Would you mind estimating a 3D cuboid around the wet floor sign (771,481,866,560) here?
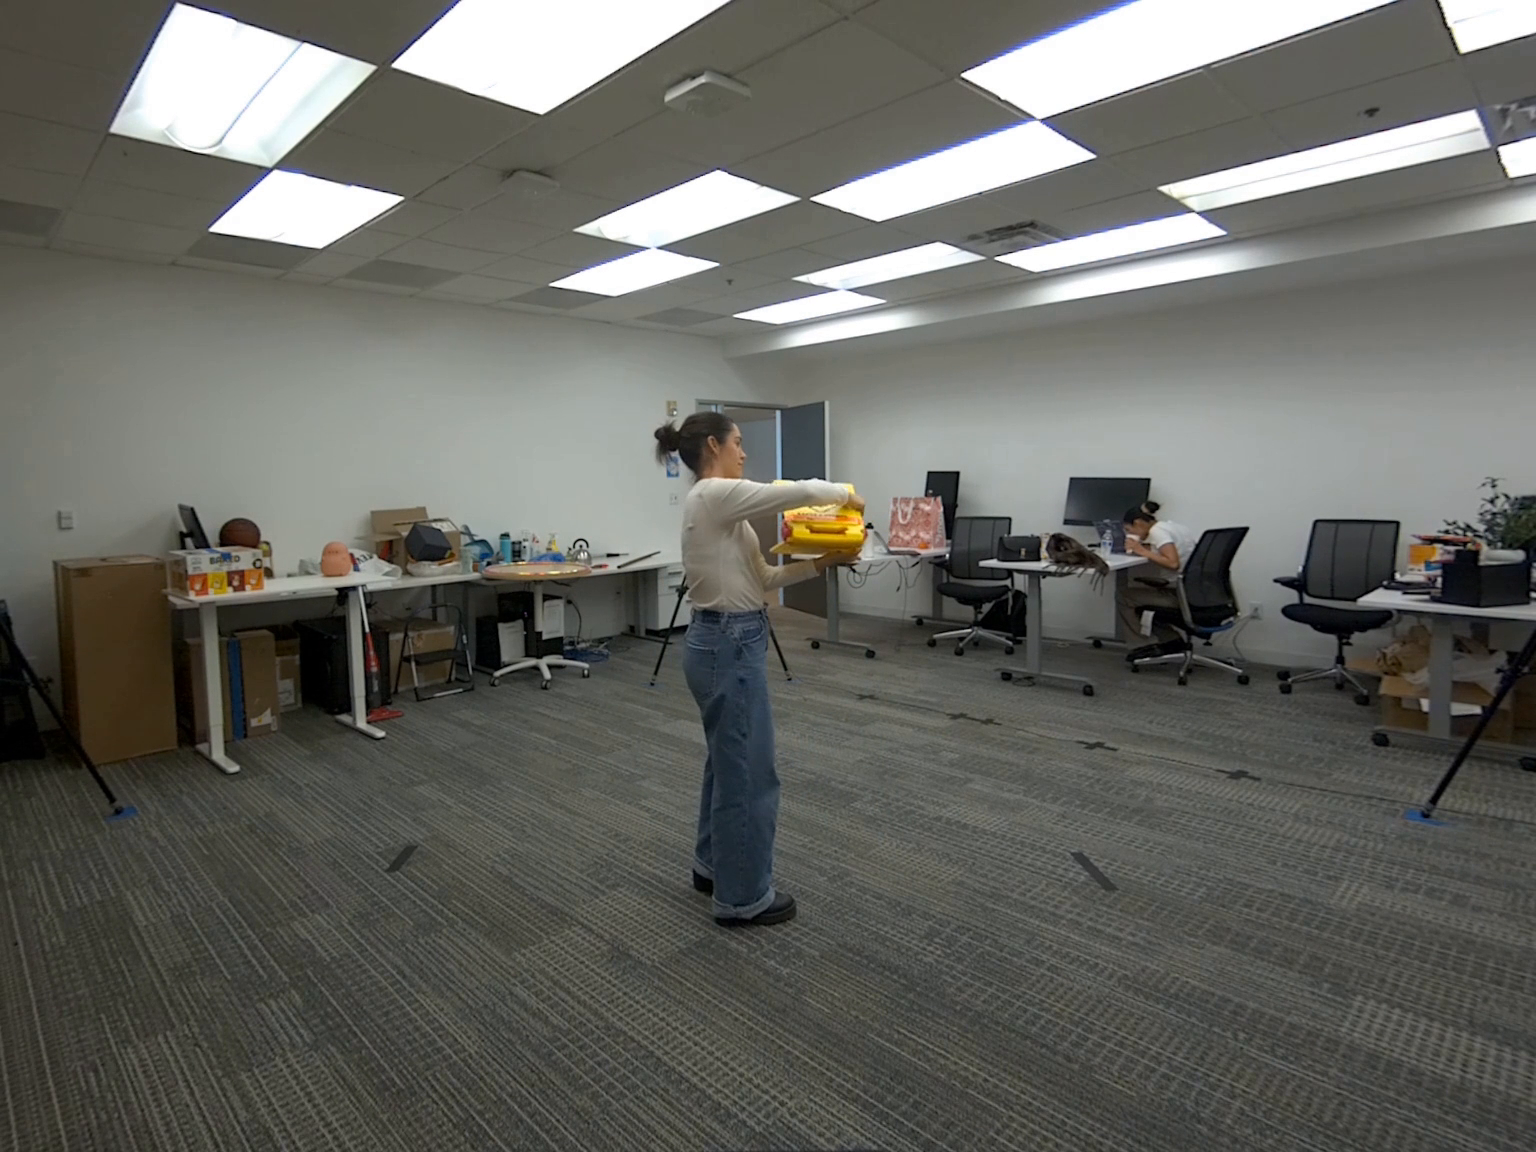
[{"bbox_3d":[0.160,-0.148,2.693,0.282,0.288,0.651,2,8,-3],"label":"wet floor sign"}]
